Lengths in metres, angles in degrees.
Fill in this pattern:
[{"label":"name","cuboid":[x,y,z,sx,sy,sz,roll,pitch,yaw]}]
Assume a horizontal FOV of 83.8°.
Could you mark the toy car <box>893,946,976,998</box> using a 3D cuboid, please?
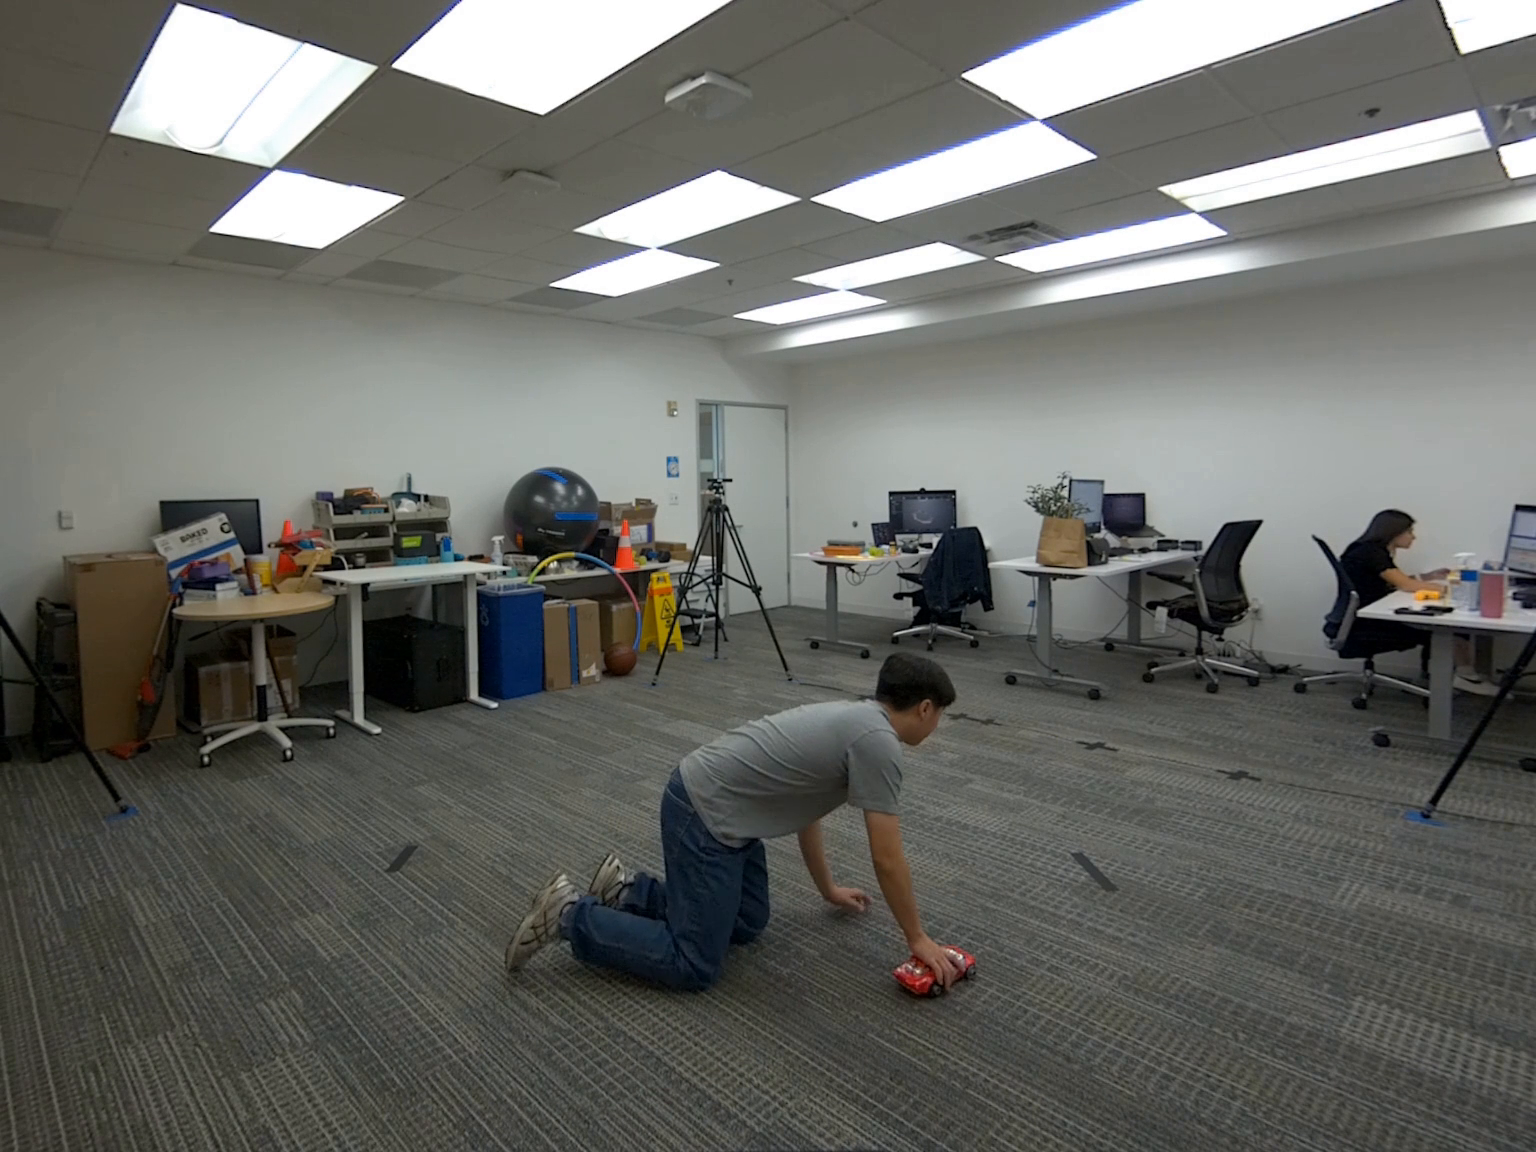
[{"label":"toy car","cuboid":[0.456,1.092,2.356,0.247,0.083,0.134,6,2,-35]}]
